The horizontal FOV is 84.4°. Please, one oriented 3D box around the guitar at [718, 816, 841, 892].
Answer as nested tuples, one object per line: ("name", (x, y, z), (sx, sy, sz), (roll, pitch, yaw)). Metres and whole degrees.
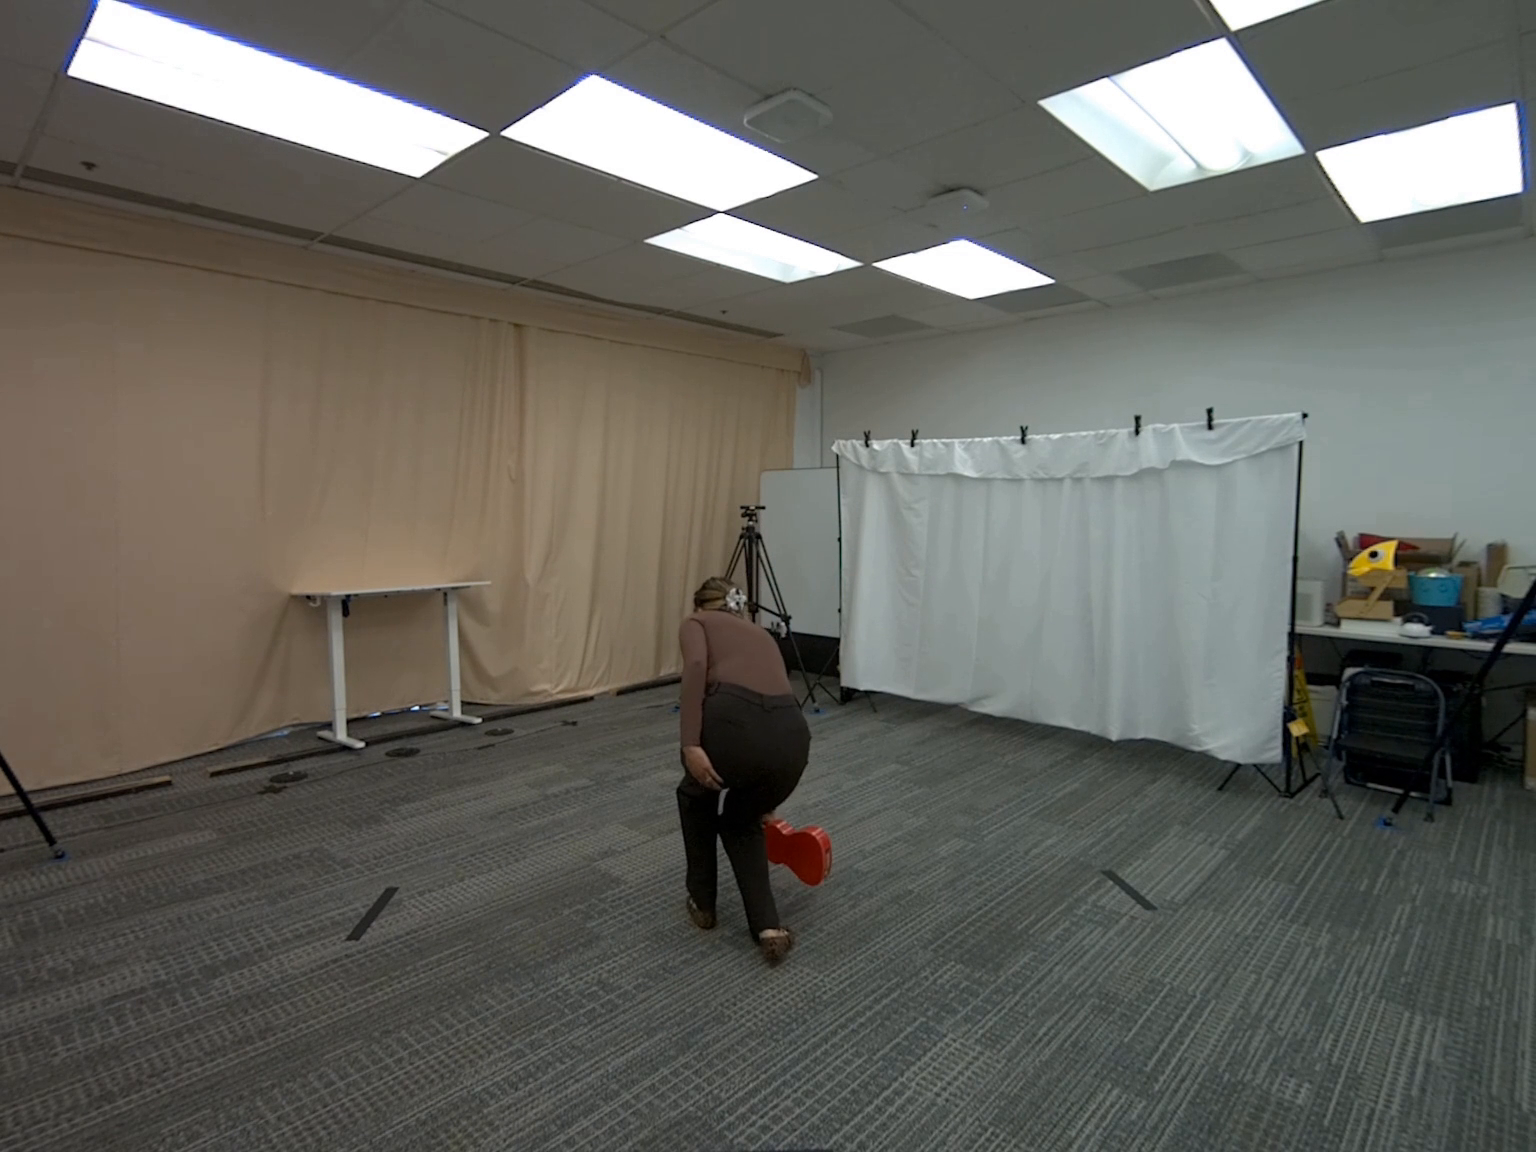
("guitar", (0.022, 0.977, 3.063), (0.513, 0.192, 0.069), (-3, 6, 41))
